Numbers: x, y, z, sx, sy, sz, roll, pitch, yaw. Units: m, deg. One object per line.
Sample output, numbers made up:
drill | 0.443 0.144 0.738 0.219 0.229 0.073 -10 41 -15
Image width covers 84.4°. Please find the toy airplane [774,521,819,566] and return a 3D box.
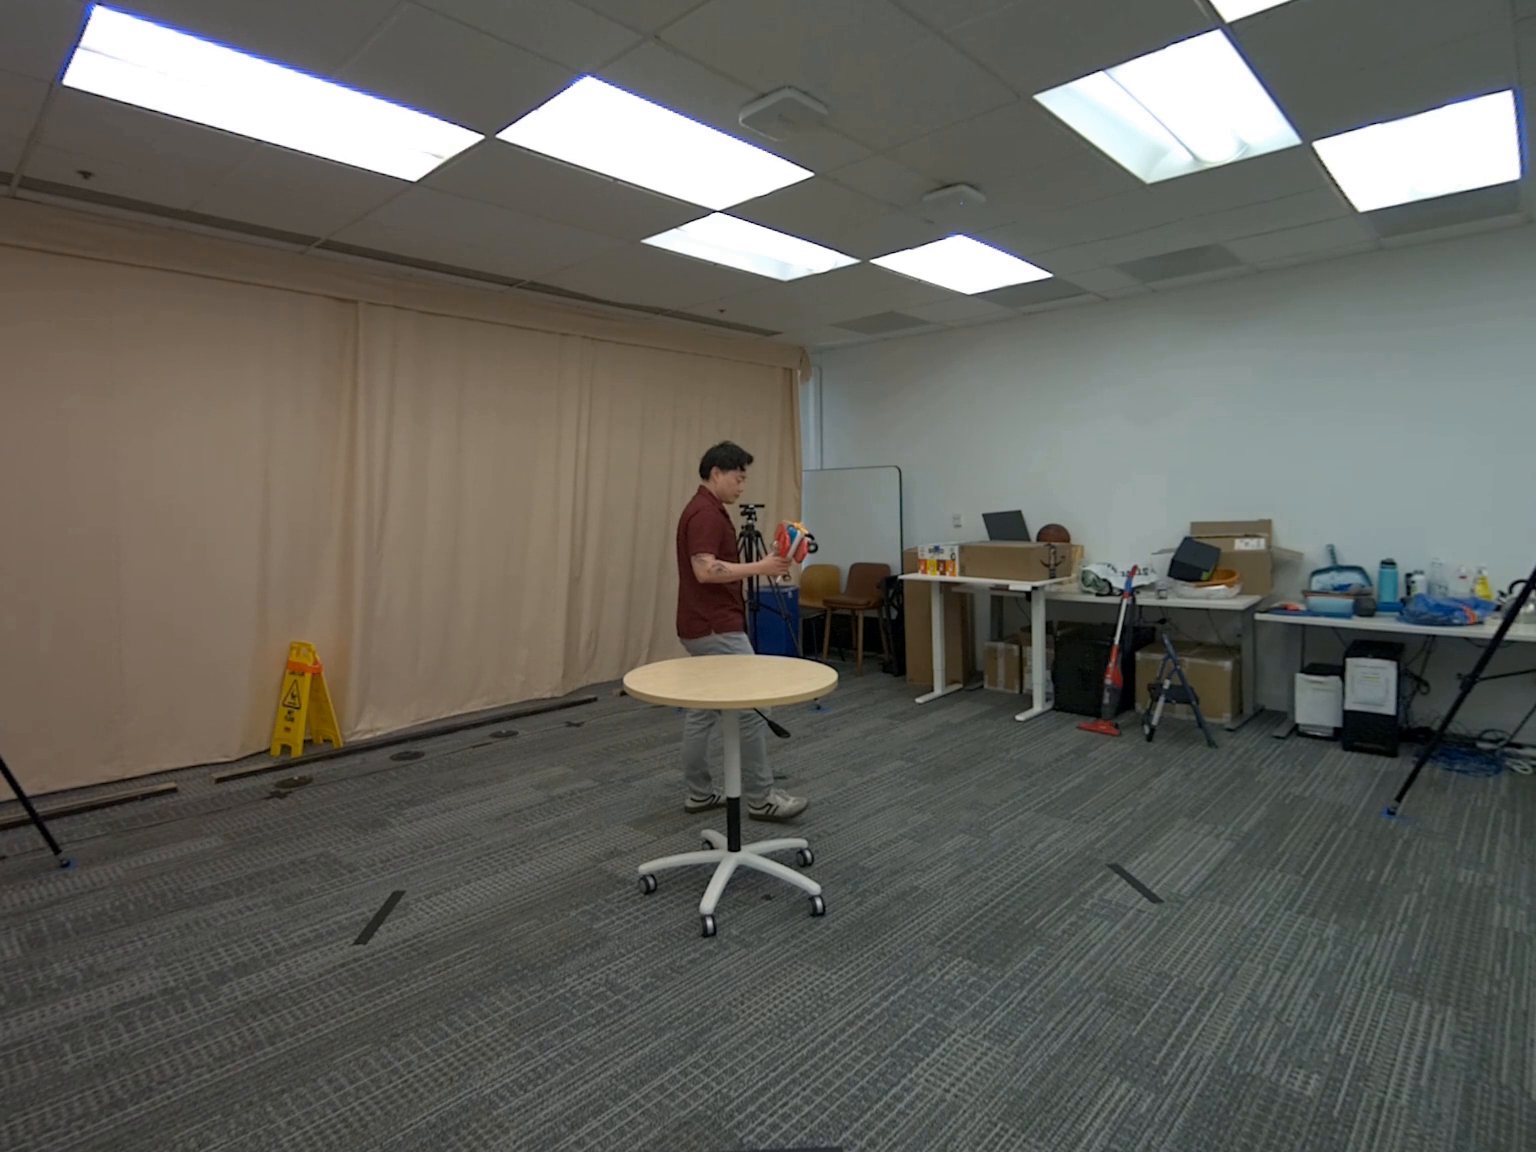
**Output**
toy airplane | 0.100 -0.094 3.530 0.153 0.259 0.257 34 -12 -19
